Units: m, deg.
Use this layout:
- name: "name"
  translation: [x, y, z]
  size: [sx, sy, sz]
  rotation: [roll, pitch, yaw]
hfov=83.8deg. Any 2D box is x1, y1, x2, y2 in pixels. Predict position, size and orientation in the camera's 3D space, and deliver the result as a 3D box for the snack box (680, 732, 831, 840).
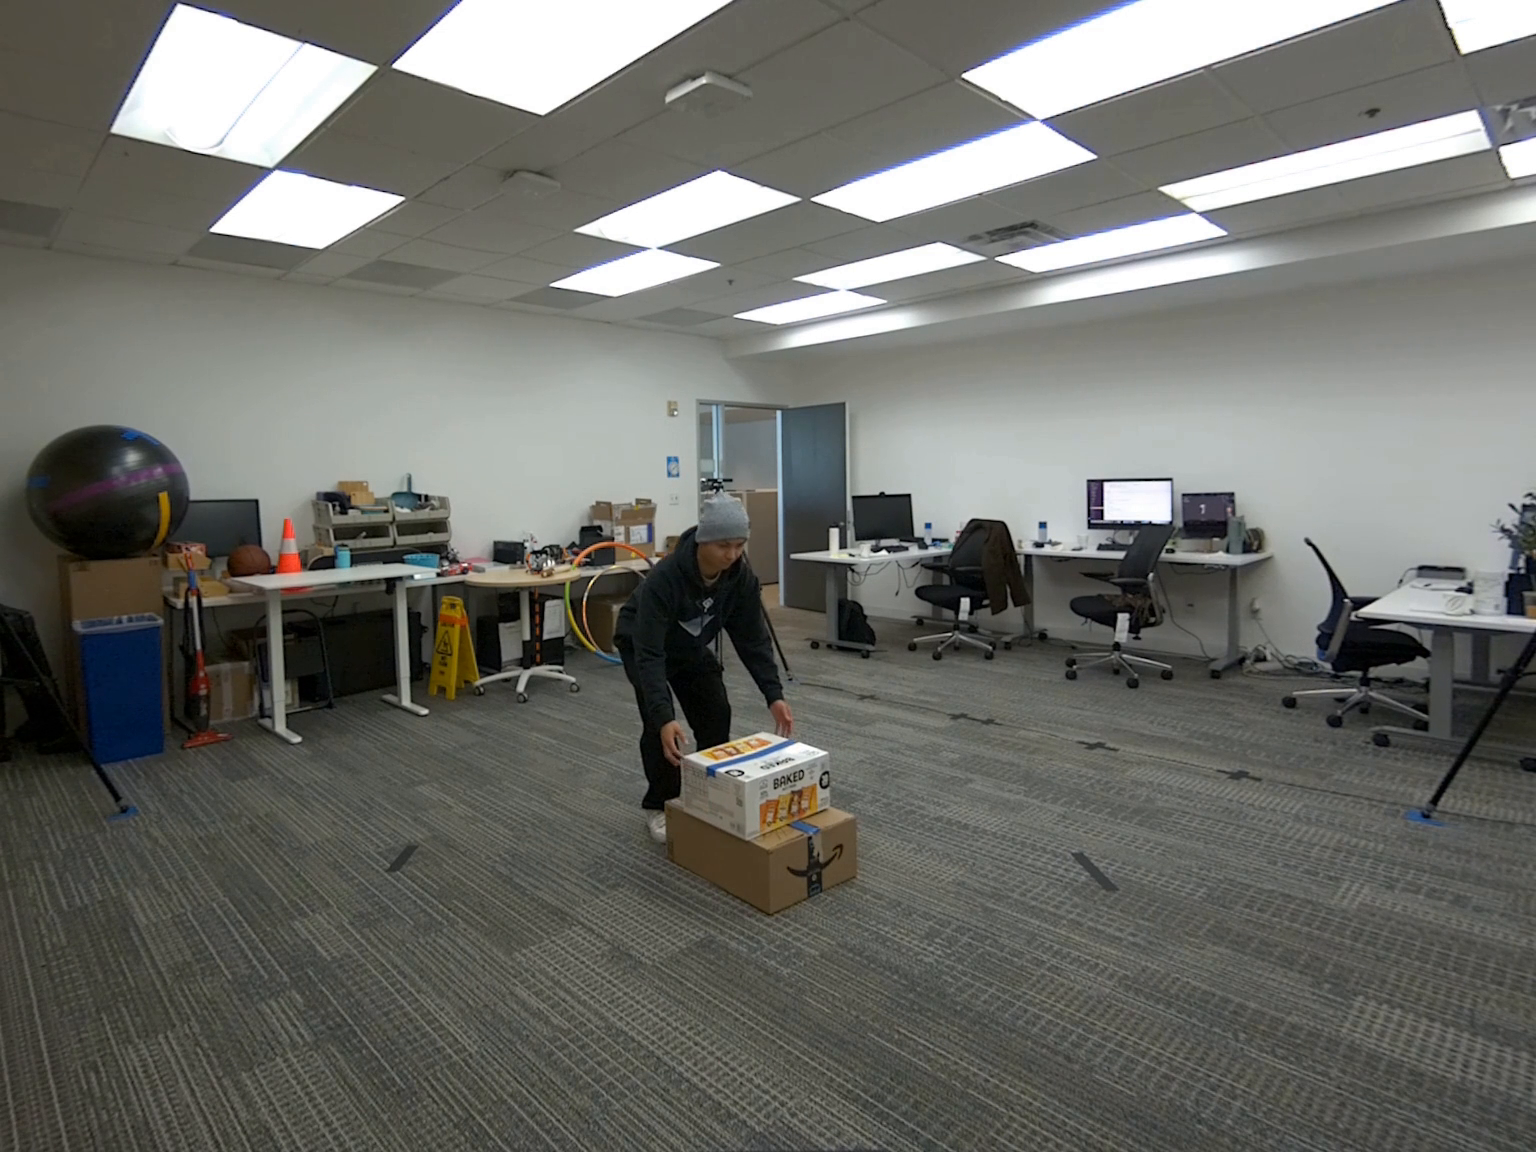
- name: "snack box"
  translation: [-0.039, 0.733, 3.031]
  size: [0.395, 0.205, 0.351]
  rotation: [-8, 8, -42]
